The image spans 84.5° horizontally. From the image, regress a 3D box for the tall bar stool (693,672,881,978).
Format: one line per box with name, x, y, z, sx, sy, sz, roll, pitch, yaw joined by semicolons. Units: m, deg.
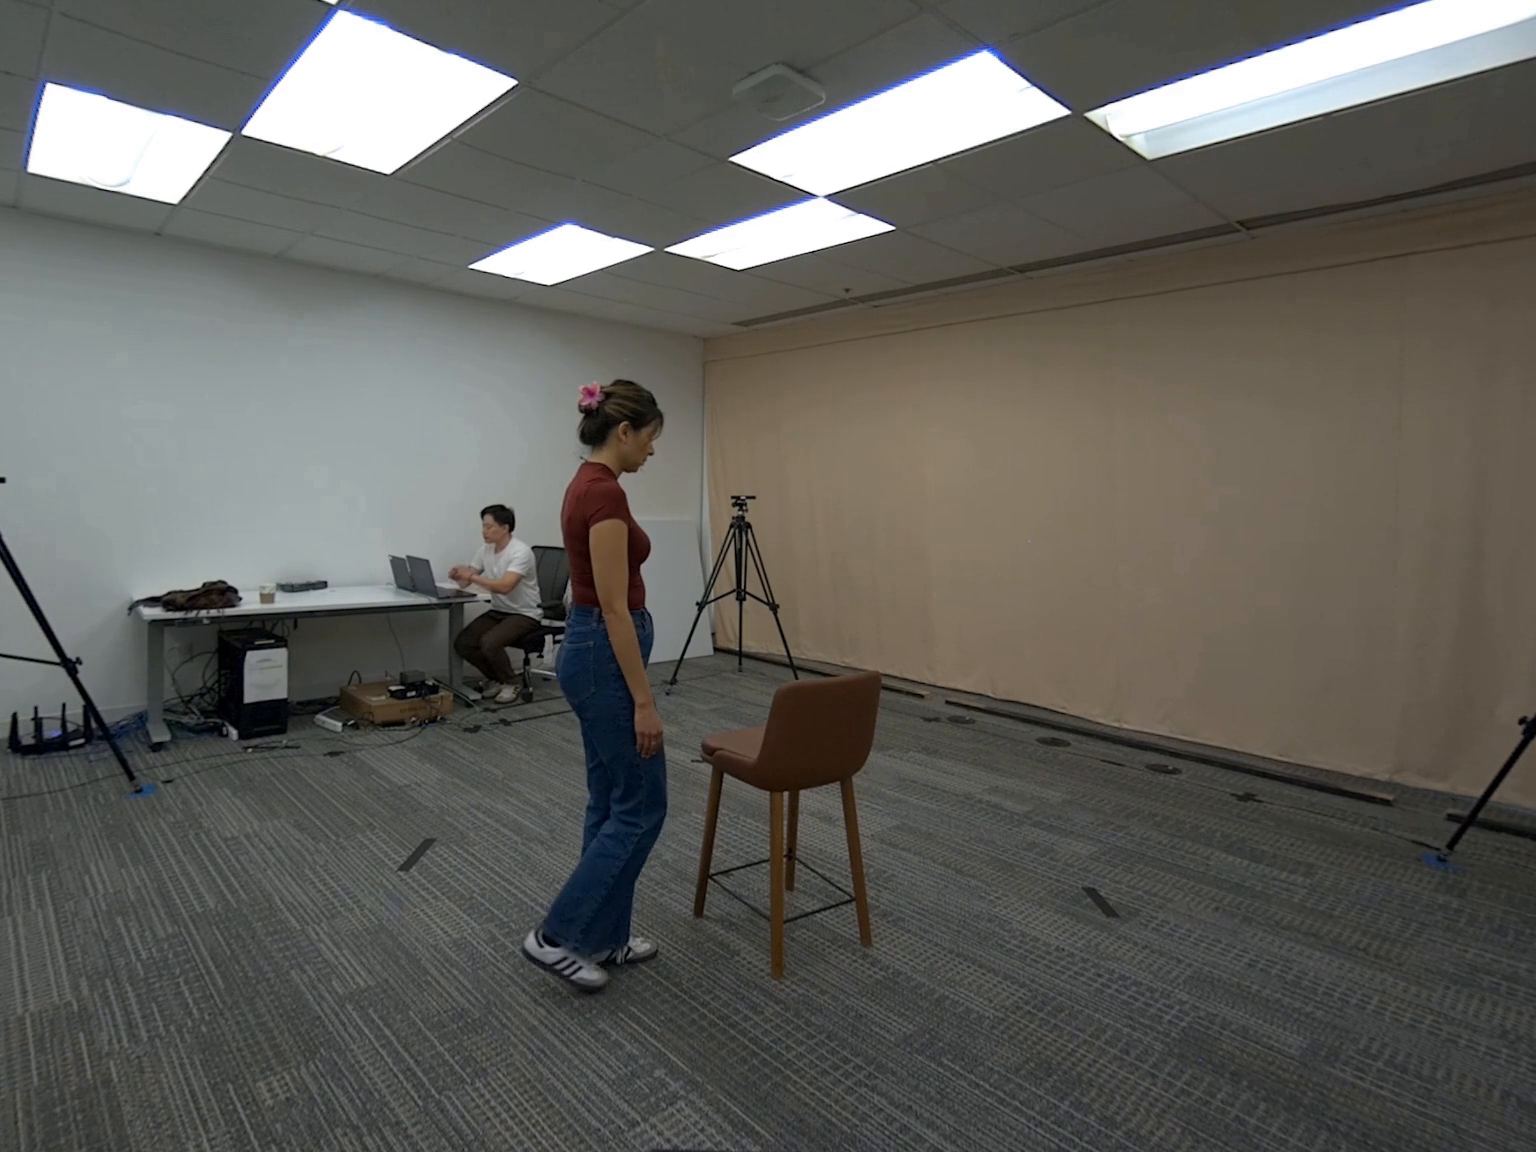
tall bar stool;0.056;0.711;2.687;0.446;0.886;0.479;-1;6;-35
